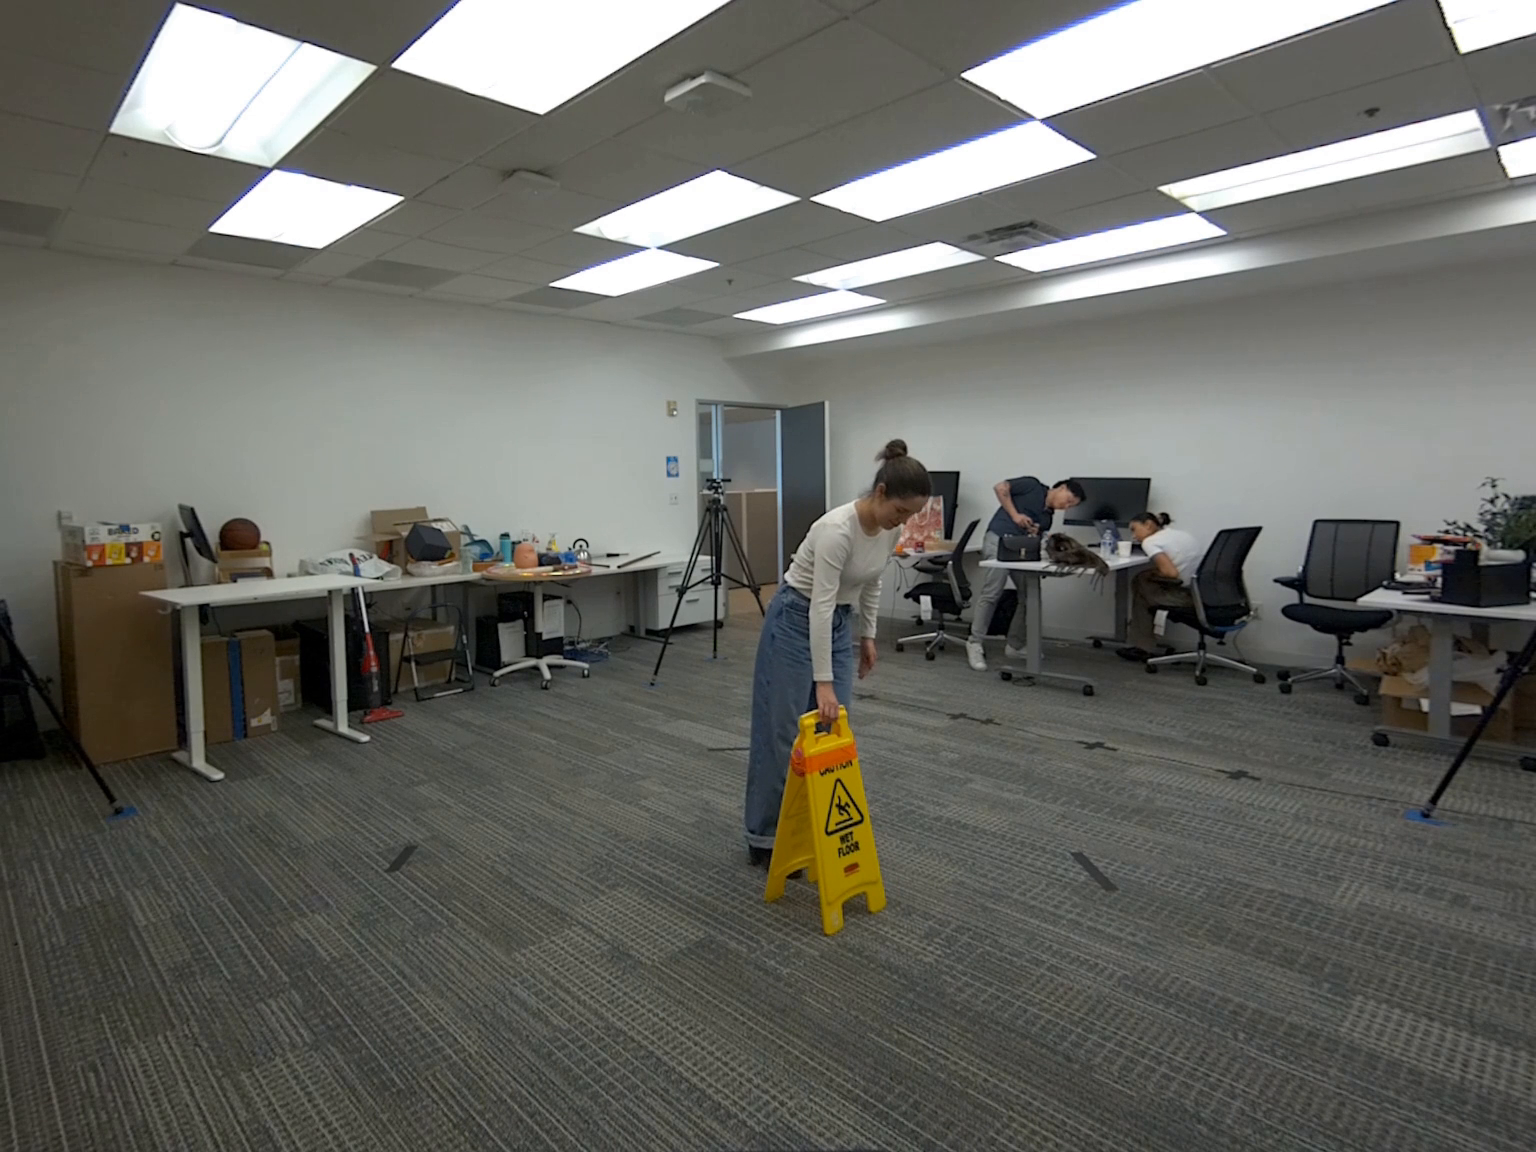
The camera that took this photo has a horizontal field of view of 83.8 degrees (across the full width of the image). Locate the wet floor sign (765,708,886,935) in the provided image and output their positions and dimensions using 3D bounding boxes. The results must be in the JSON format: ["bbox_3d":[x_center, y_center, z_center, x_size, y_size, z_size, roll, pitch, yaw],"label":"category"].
[{"bbox_3d":[0.181,0.757,2.781,0.275,0.644,0.298,-4,4,-40],"label":"wet floor sign"}]
